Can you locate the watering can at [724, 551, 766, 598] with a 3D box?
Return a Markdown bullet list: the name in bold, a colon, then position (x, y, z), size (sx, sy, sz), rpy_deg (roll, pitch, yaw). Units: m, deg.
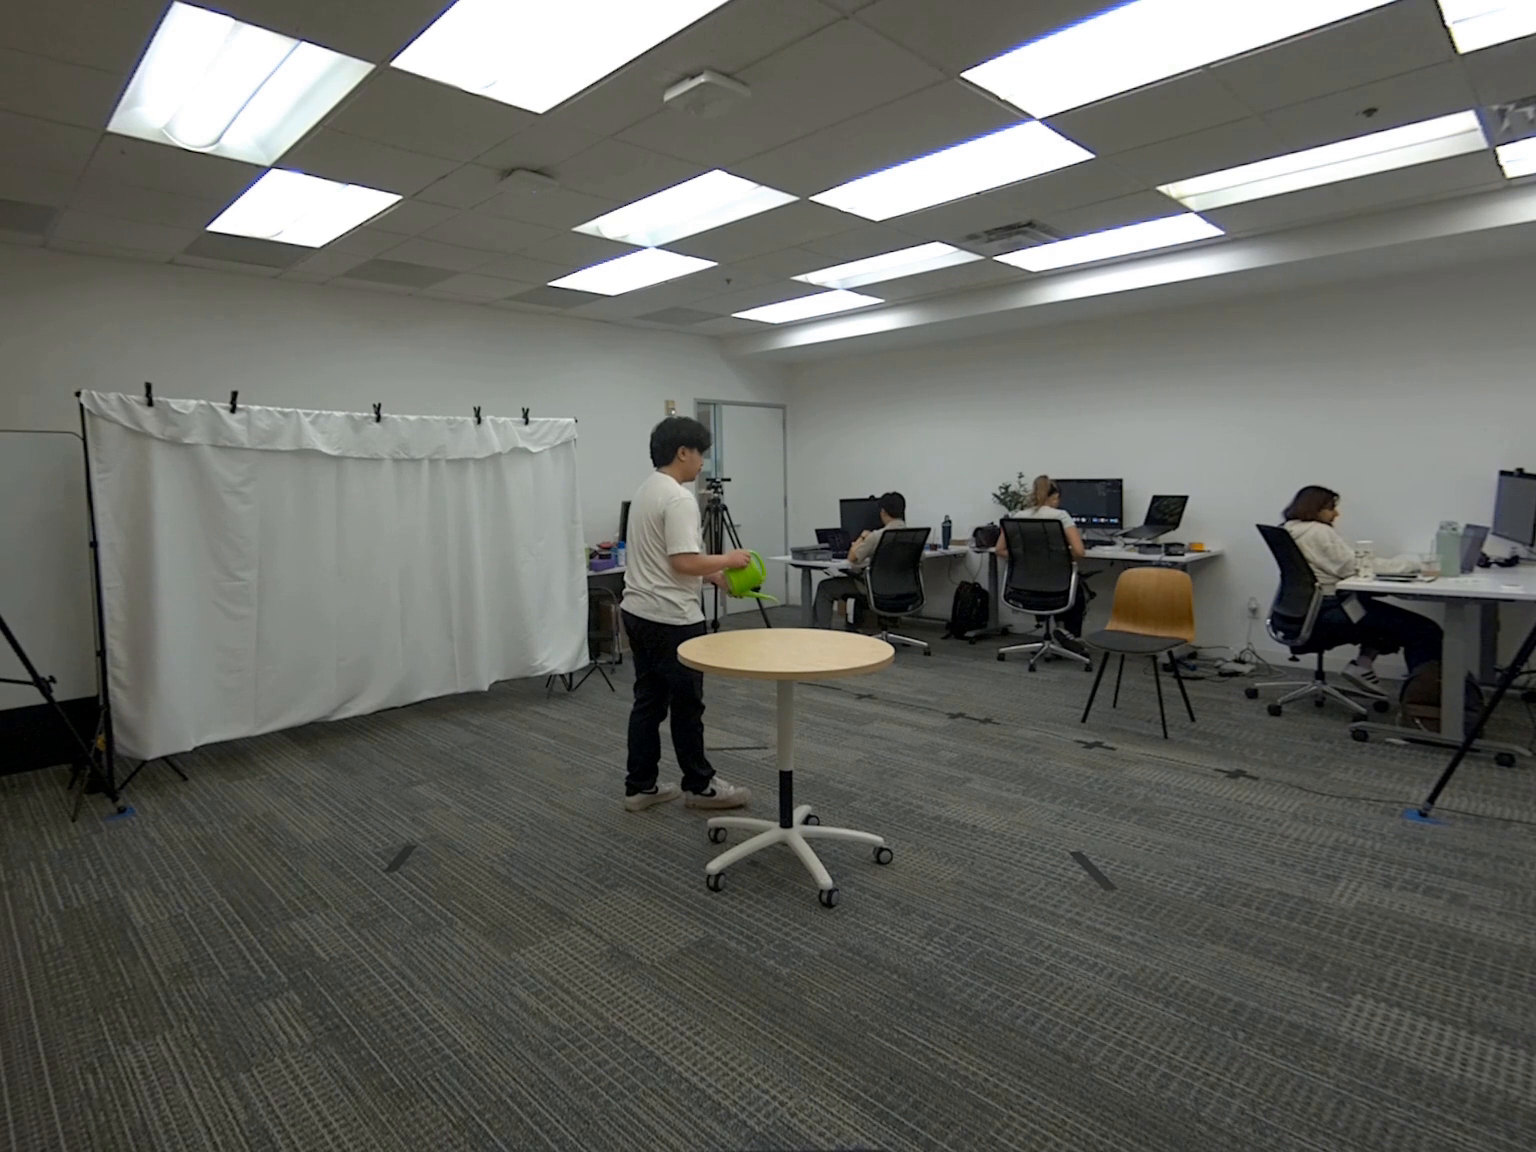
- **watering can**: position (-0.074, 0.035, 3.681), size (0.176, 0.279, 0.098), rpy_deg (-25, -2, -13)
